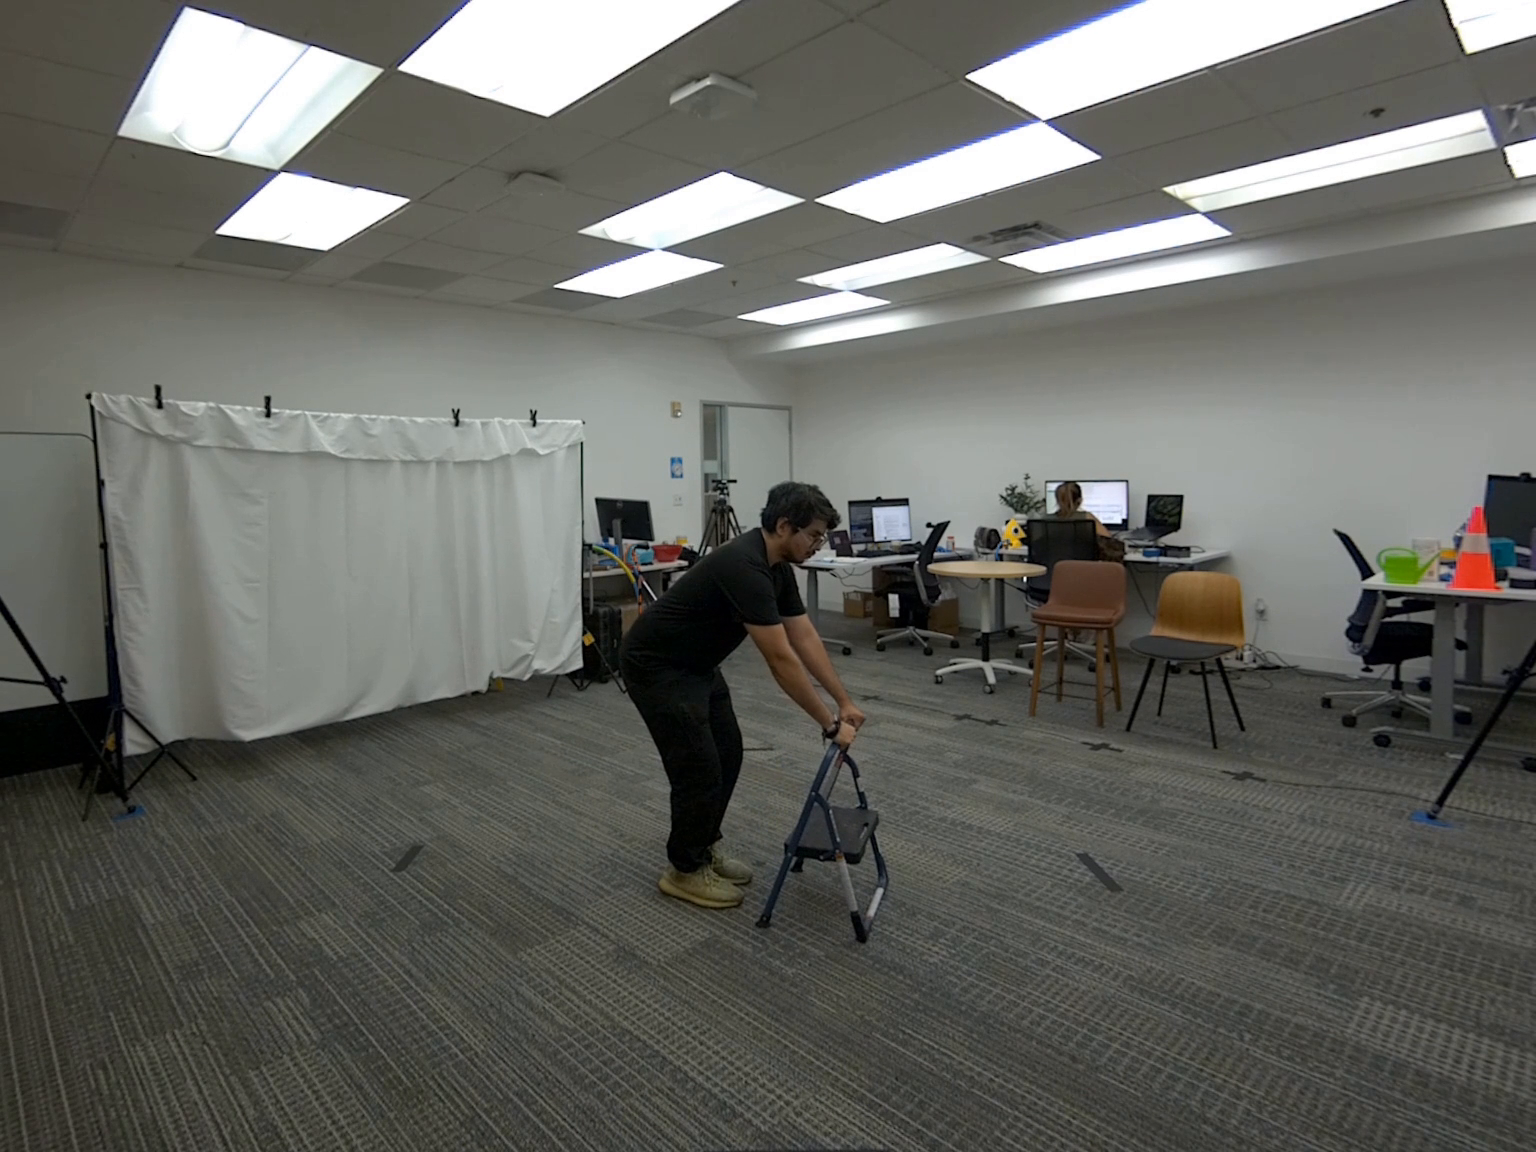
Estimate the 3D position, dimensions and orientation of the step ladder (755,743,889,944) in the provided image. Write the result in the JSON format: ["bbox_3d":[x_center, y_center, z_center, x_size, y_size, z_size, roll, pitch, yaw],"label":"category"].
[{"bbox_3d":[0.190,0.776,2.786,0.356,0.604,0.424,1,5,19],"label":"step ladder"}]
